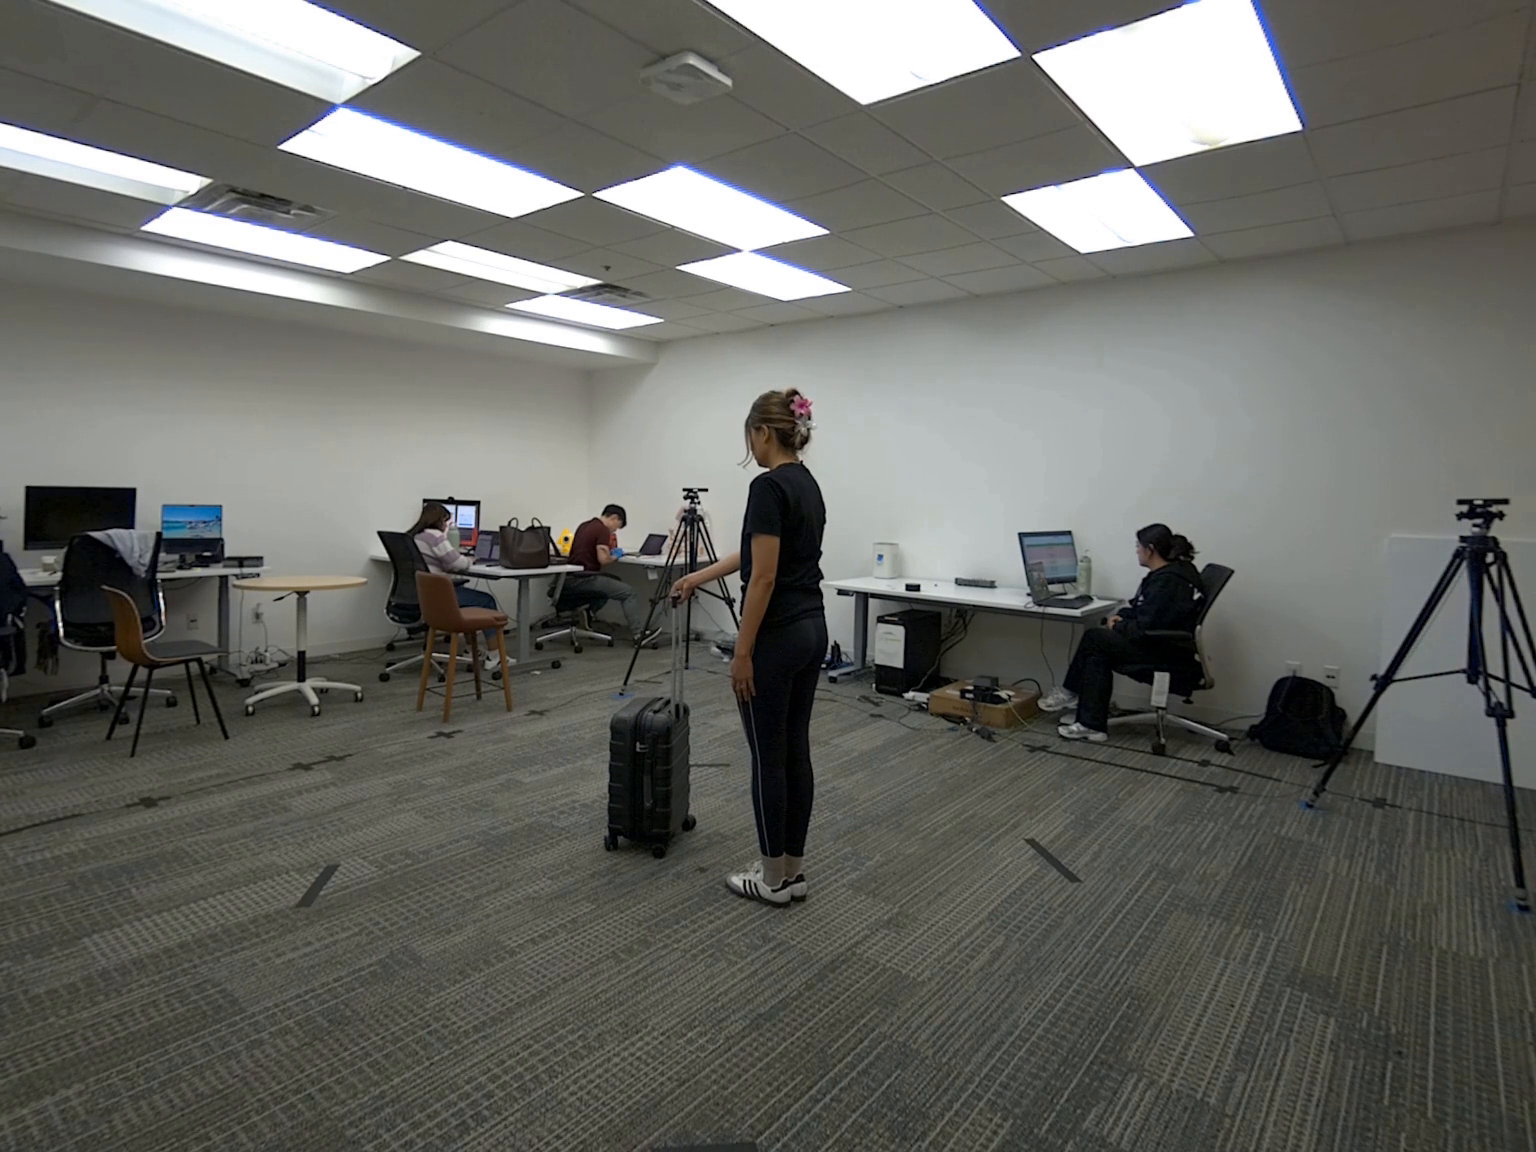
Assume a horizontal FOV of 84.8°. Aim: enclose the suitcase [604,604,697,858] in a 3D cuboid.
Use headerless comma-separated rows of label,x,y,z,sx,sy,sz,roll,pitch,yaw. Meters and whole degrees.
suitcase,-0.476,0.567,3.352,0.260,0.976,0.380,-1,2,10
